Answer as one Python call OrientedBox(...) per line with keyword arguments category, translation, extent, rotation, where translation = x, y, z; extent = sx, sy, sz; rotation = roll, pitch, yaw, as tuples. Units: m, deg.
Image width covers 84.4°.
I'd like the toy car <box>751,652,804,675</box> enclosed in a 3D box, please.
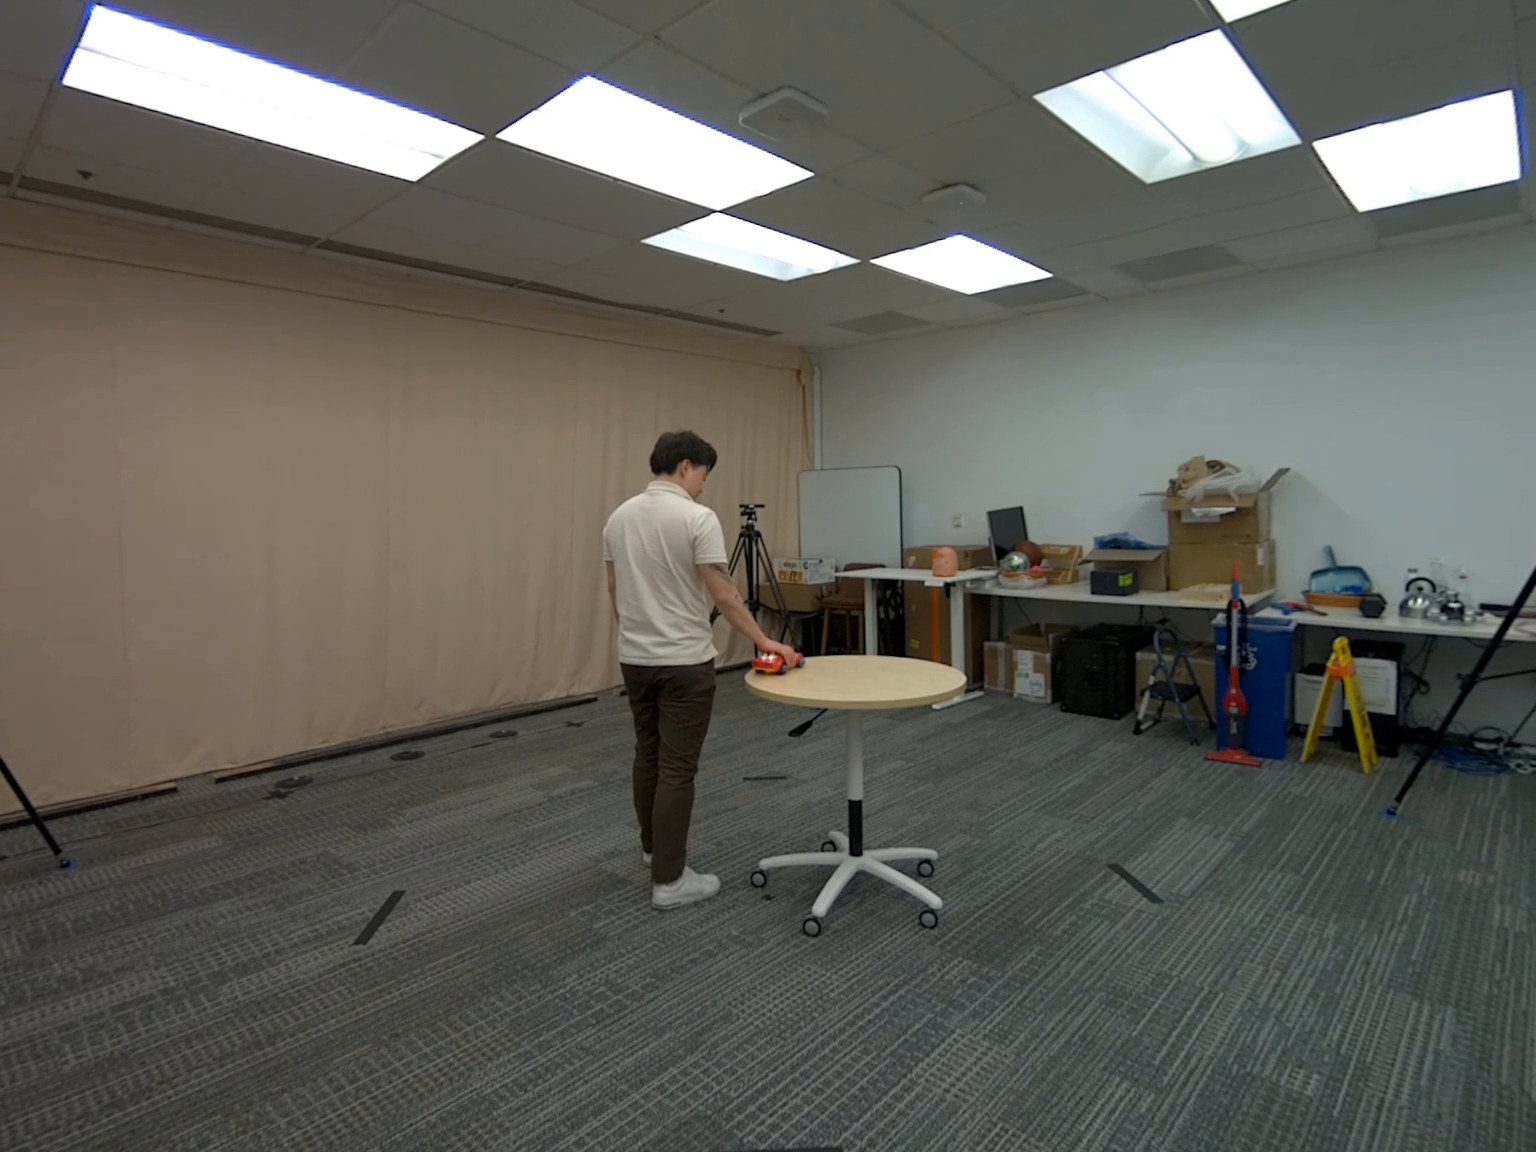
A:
OrientedBox(category="toy car", translation=(0.033, 0.320, 3.067), extent=(0.134, 0.083, 0.246), rotation=(2, -5, 31))
